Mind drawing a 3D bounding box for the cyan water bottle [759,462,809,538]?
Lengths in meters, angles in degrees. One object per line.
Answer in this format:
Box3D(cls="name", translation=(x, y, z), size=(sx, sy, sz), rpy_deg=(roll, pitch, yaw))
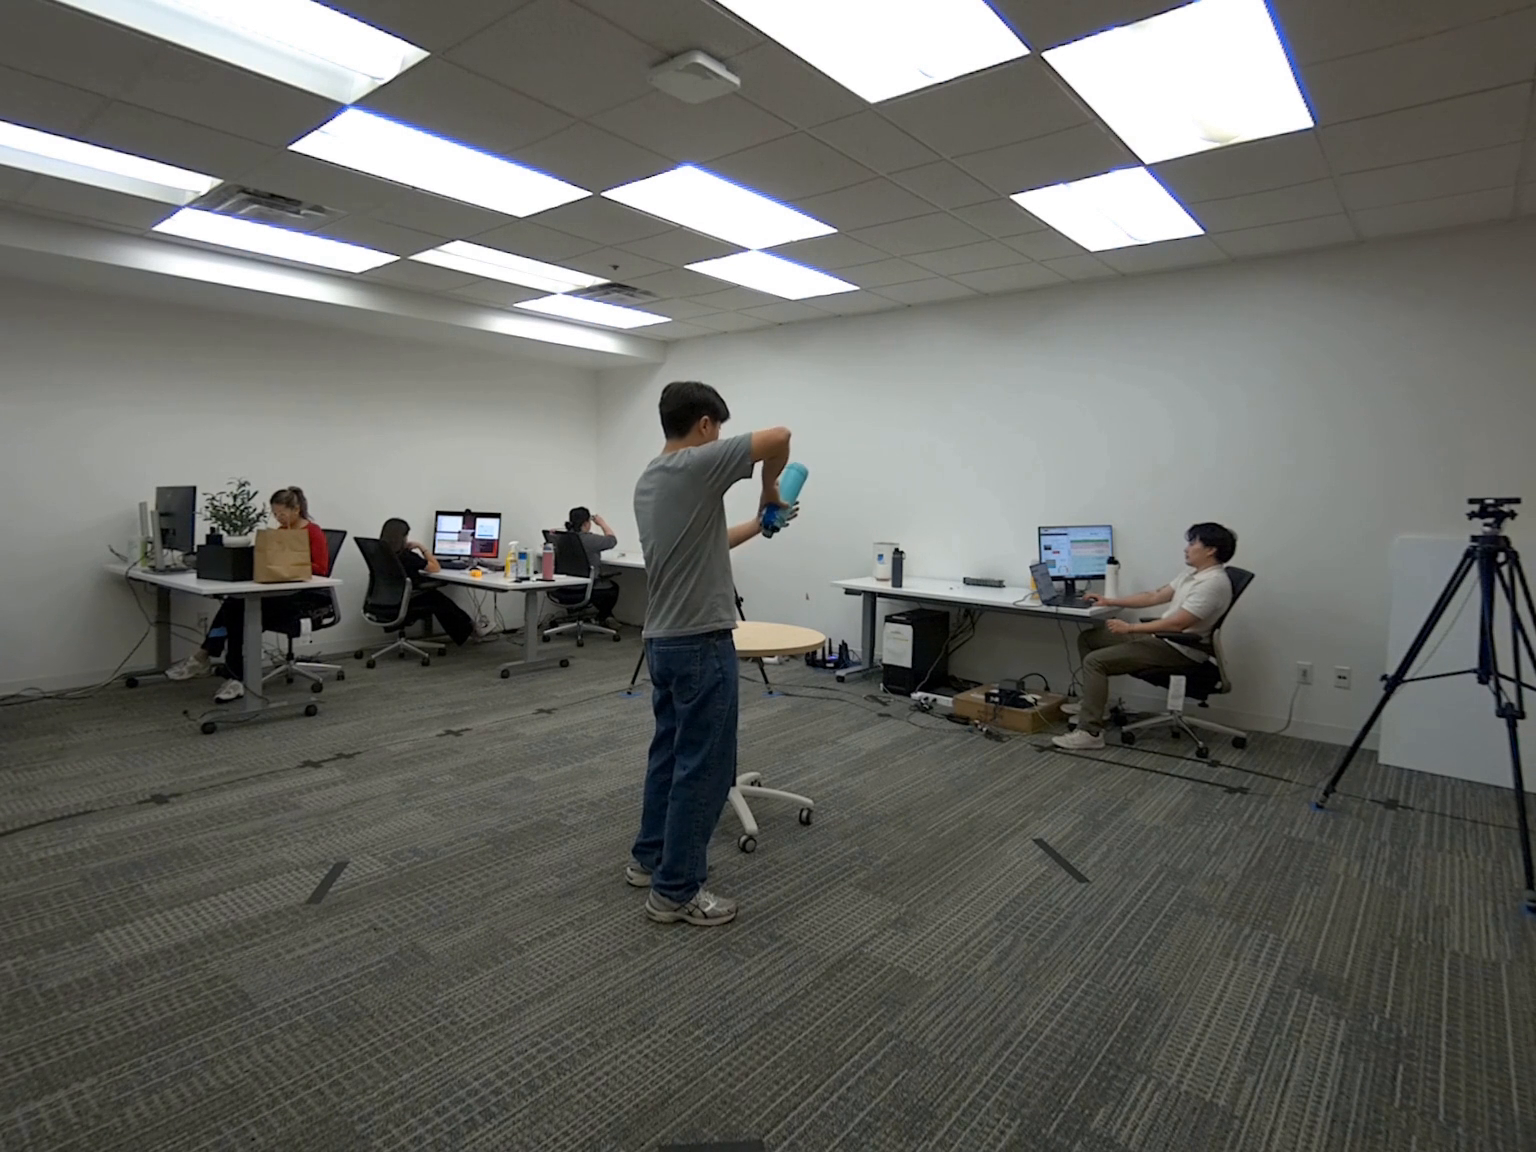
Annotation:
Box3D(cls="cyan water bottle", translation=(0.042, -0.273, 2.956), size=(0.093, 0.285, 0.090), rpy_deg=(24, -22, 8))
